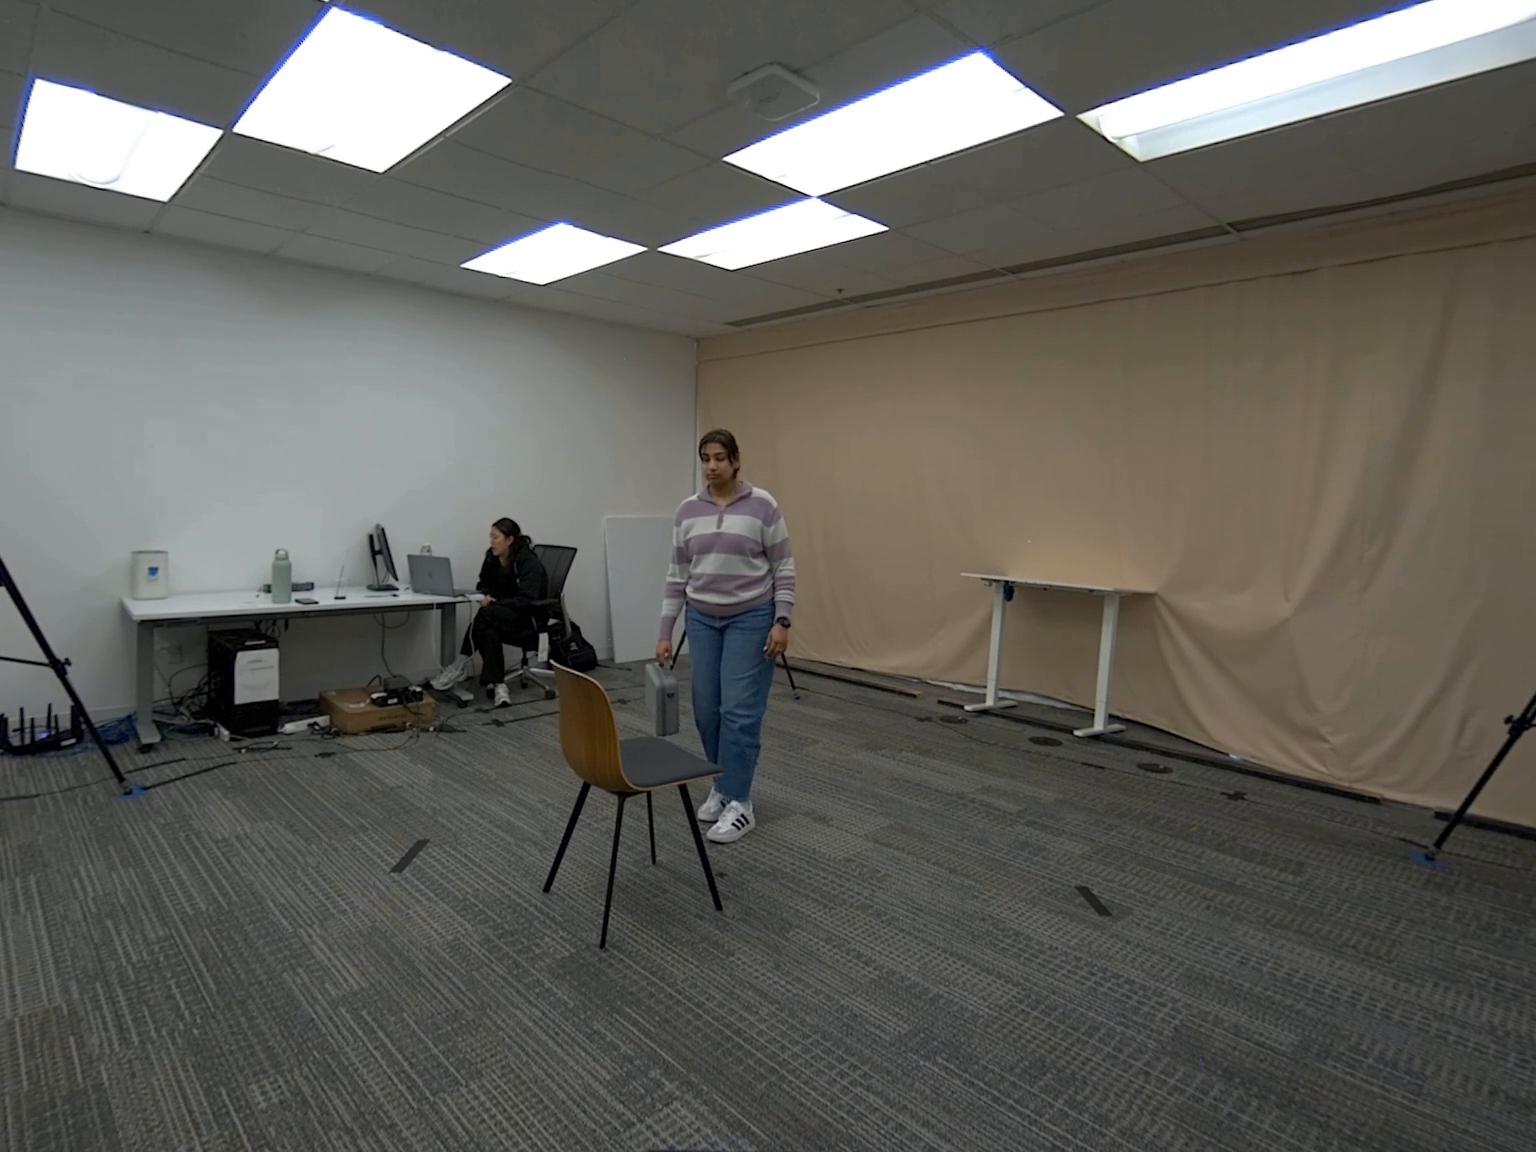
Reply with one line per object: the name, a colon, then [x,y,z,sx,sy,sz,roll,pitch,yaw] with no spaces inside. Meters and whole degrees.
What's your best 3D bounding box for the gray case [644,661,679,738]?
gray case: [-0.460,0.514,3.642,0.103,0.258,0.263,-4,17,-18]
